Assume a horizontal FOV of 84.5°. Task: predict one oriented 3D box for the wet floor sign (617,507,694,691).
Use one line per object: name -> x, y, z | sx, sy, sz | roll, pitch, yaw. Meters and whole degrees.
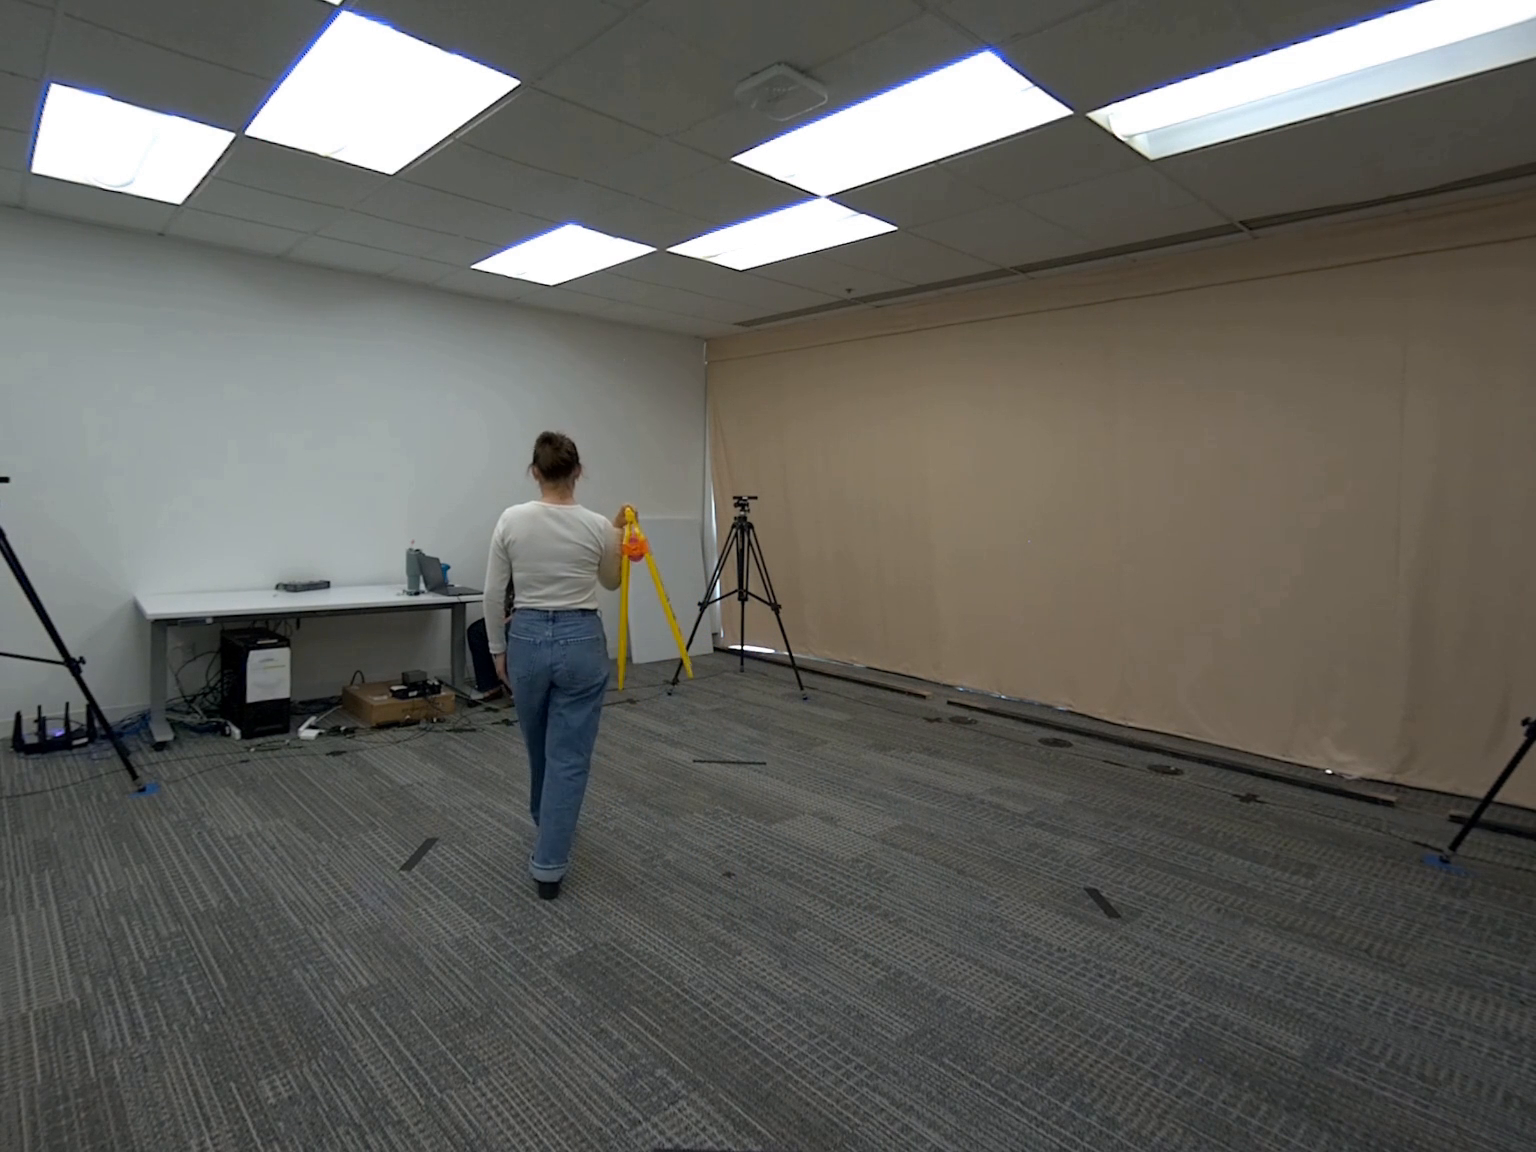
wet floor sign -> -0.481, 0.064, 3.160 | 0.289, 0.645, 0.284 | -8, 2, -5
